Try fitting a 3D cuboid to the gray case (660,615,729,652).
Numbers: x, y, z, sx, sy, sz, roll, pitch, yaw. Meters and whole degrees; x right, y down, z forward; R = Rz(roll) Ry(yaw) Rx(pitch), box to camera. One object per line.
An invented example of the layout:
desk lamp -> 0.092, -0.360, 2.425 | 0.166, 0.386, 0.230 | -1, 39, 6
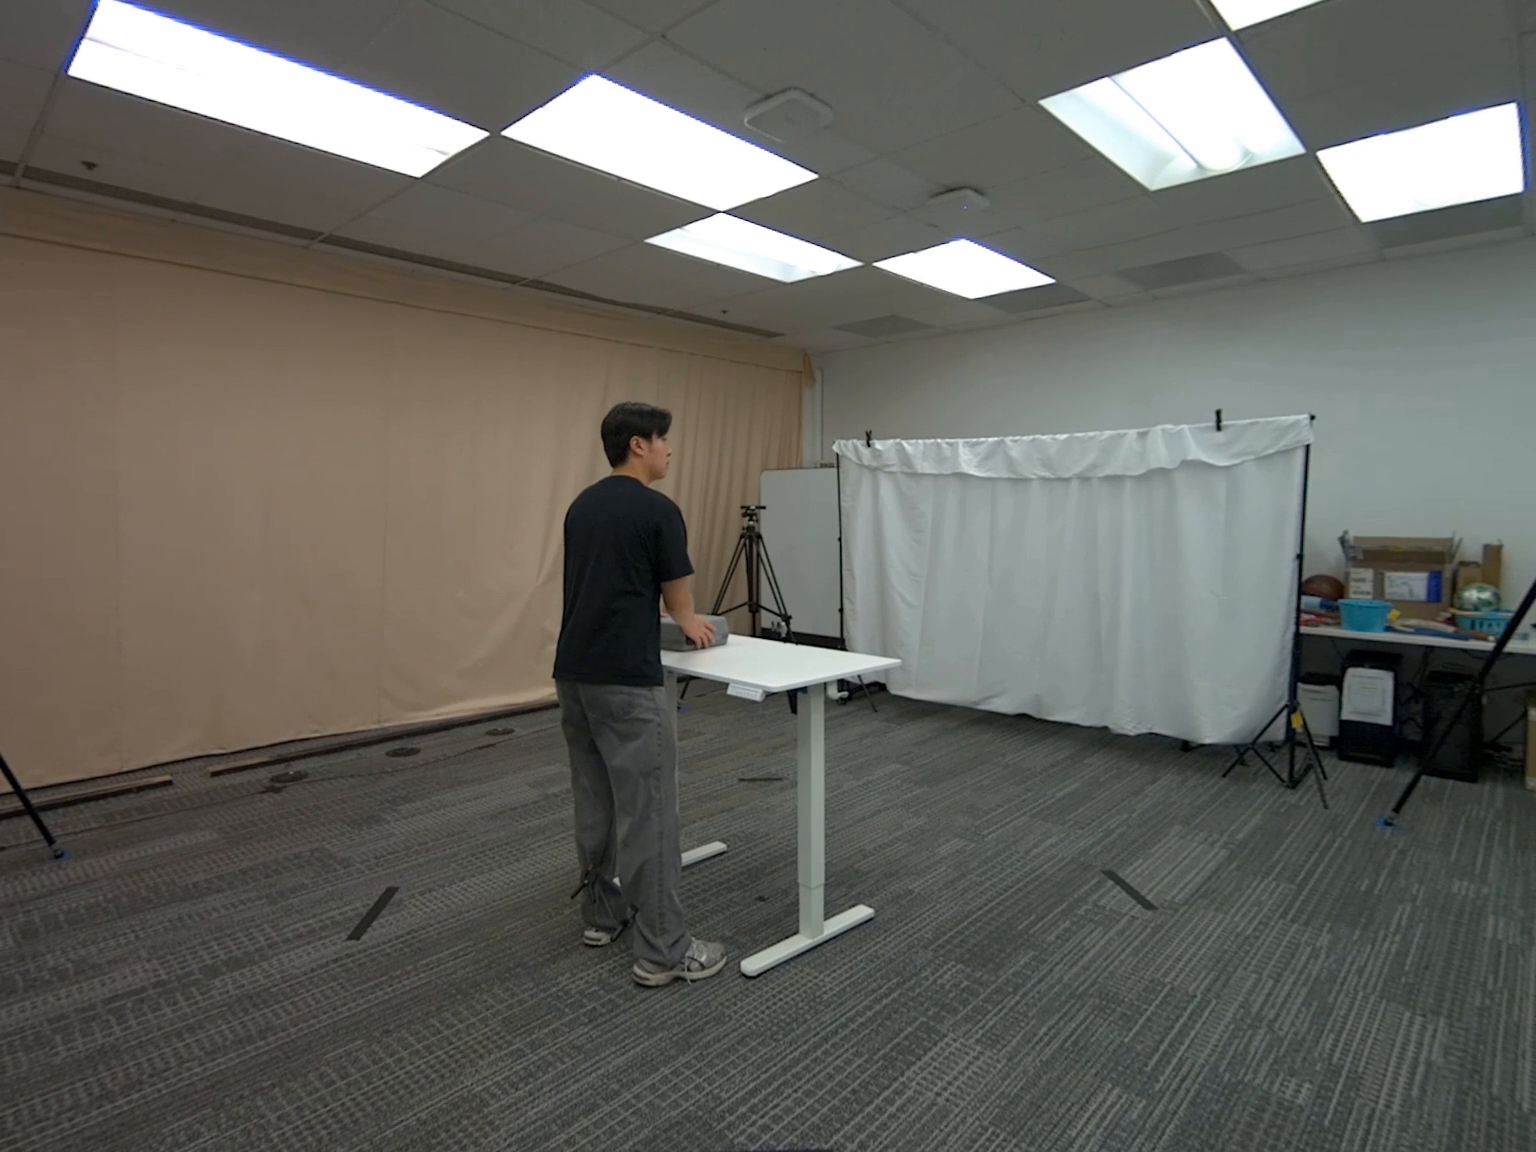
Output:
gray case -> -0.315, 0.204, 3.115 | 0.297, 0.103, 0.255 | 3, 6, 43
